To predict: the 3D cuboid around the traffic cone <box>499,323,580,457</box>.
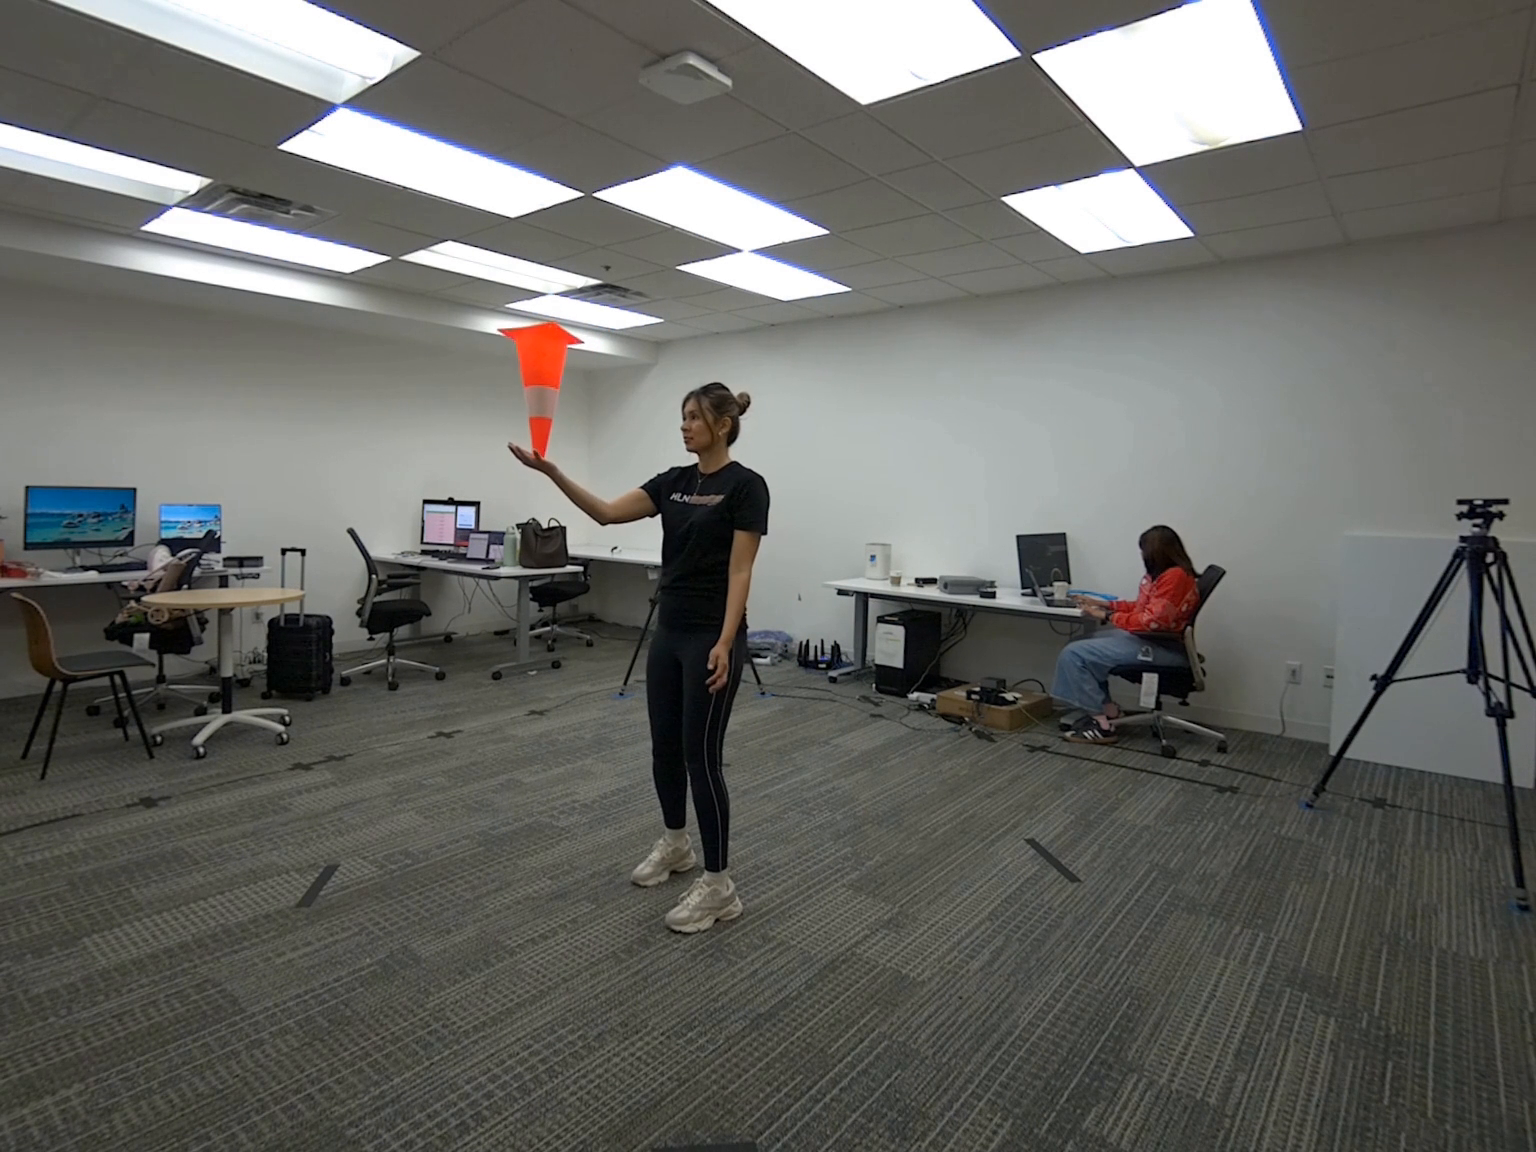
[{"bbox_3d":[-0.701,-0.540,2.556,0.209,0.386,0.198,-4,-6,40],"label":"traffic cone"}]
